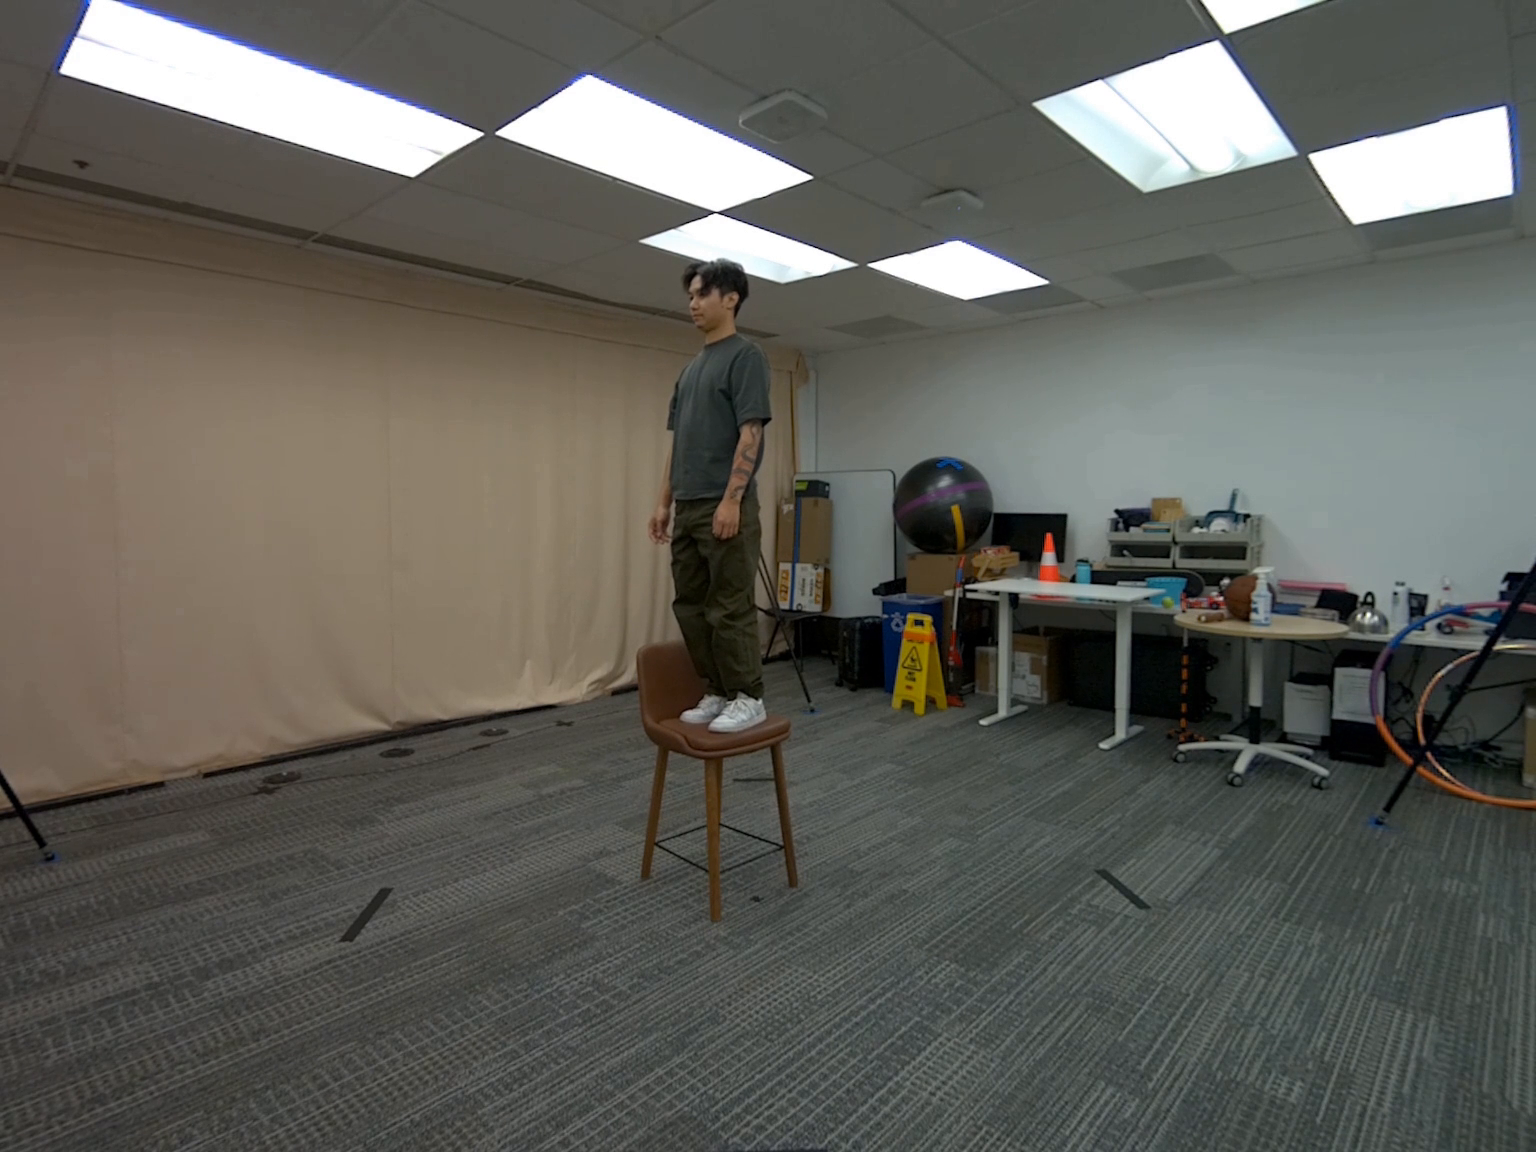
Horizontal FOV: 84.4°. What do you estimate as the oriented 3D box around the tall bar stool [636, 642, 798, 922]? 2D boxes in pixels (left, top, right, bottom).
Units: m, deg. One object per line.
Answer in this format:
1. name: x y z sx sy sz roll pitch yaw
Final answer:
1. tall bar stool: -0.195 0.699 3.097 0.442 0.889 0.483 -3 3 -43
